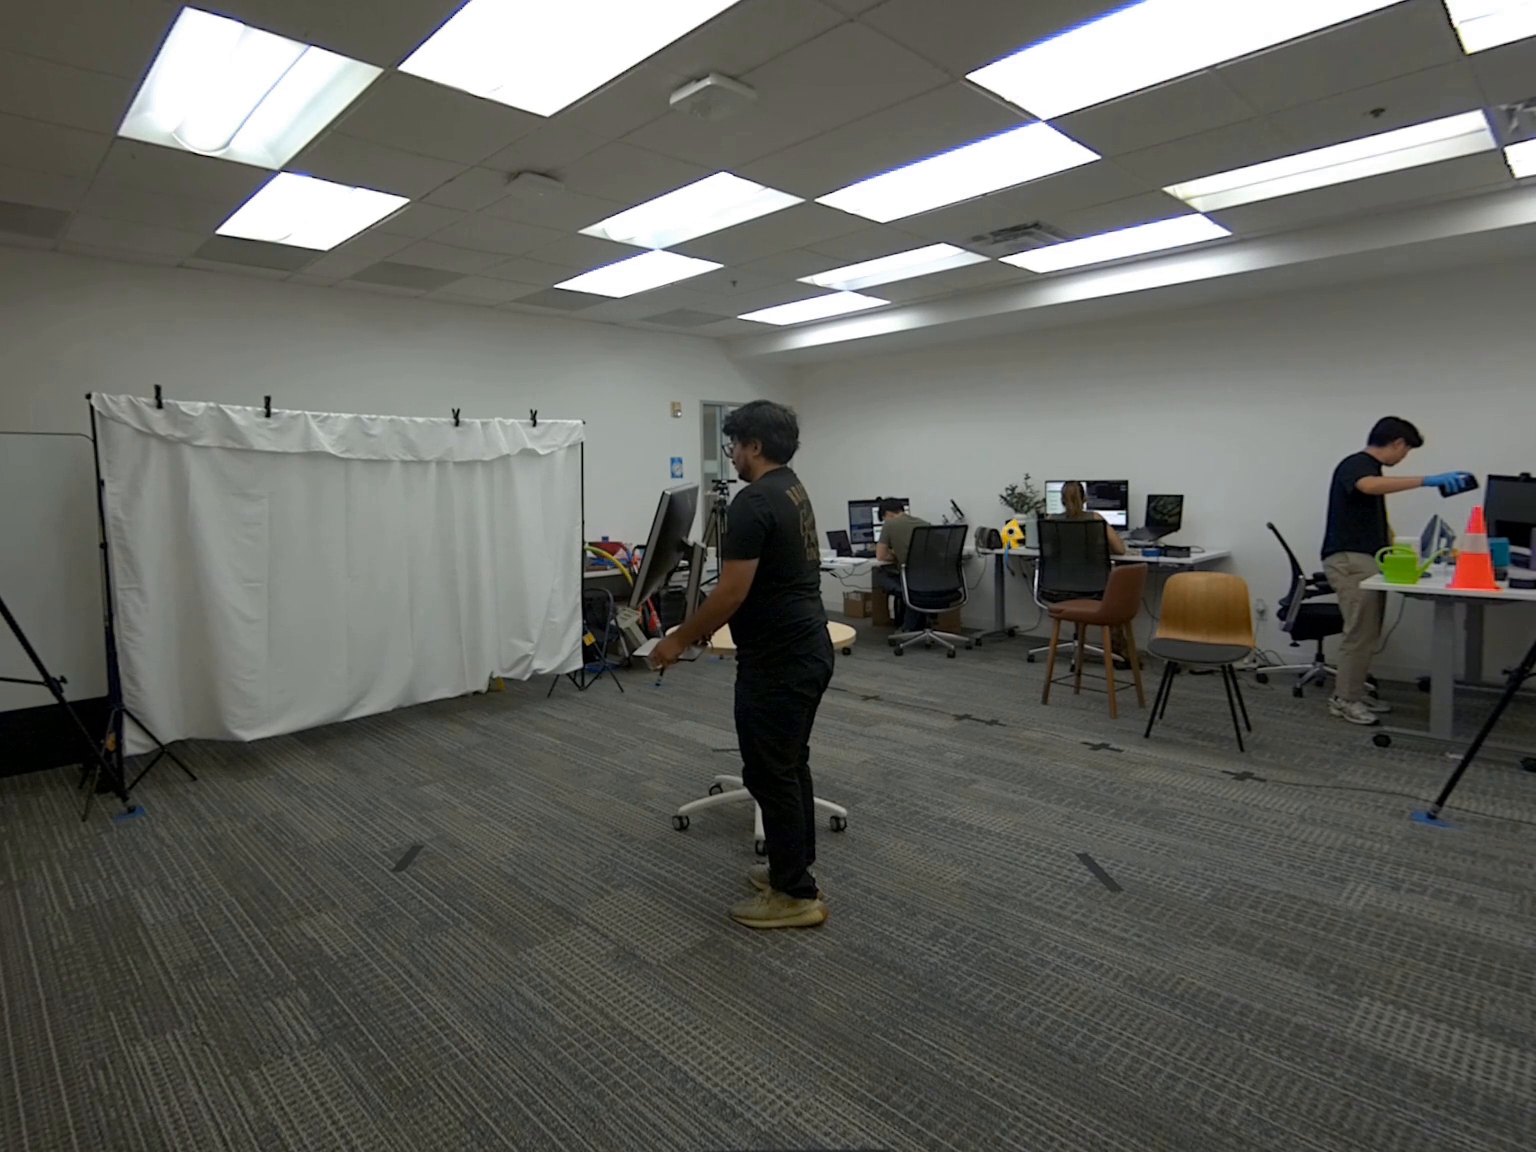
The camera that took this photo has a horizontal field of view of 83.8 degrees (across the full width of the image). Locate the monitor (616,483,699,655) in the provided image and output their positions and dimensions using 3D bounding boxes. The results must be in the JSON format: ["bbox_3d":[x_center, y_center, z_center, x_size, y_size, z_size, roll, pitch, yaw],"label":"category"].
[{"bbox_3d":[-0.268,-0.017,2.771,0.211,0.551,0.566,11,8,2],"label":"monitor"}]
